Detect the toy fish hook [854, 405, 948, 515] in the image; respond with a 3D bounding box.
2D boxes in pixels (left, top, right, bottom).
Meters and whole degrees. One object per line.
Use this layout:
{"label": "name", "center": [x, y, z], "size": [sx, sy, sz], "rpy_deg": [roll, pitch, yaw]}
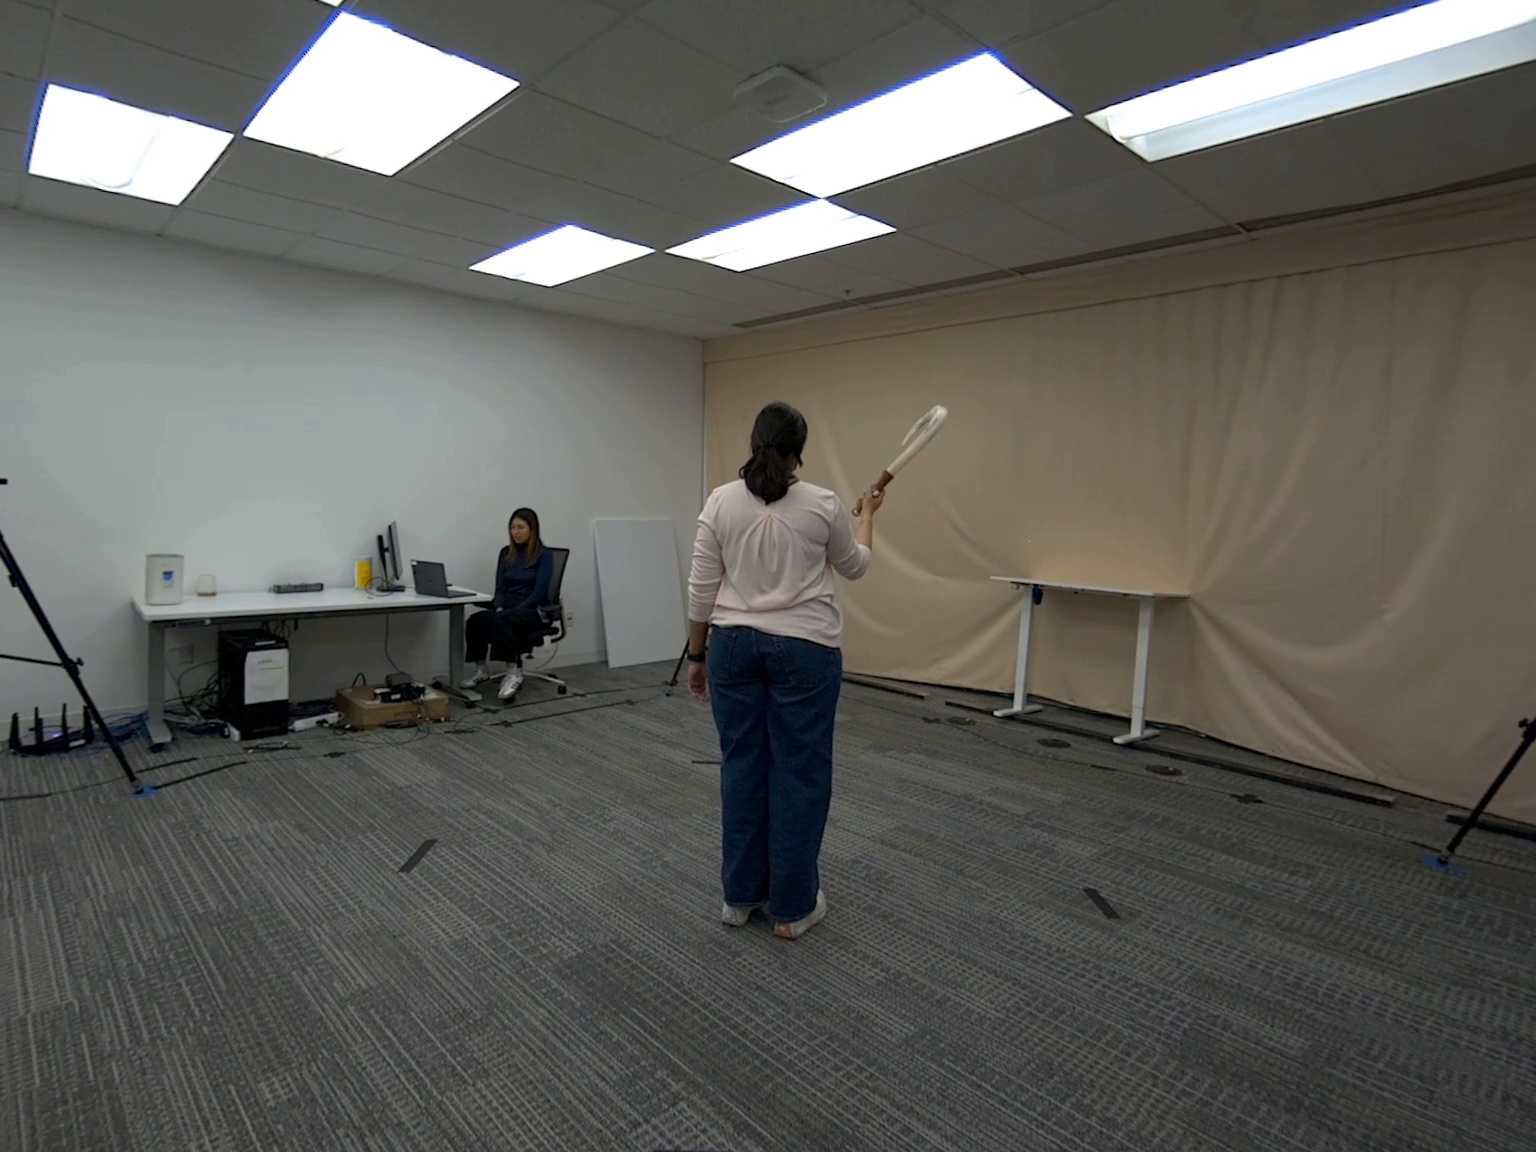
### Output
{"label": "toy fish hook", "center": [0.458, -0.416, 3.111], "size": [0.048, 0.506, 0.226], "rpy_deg": [39, 10, -8]}
